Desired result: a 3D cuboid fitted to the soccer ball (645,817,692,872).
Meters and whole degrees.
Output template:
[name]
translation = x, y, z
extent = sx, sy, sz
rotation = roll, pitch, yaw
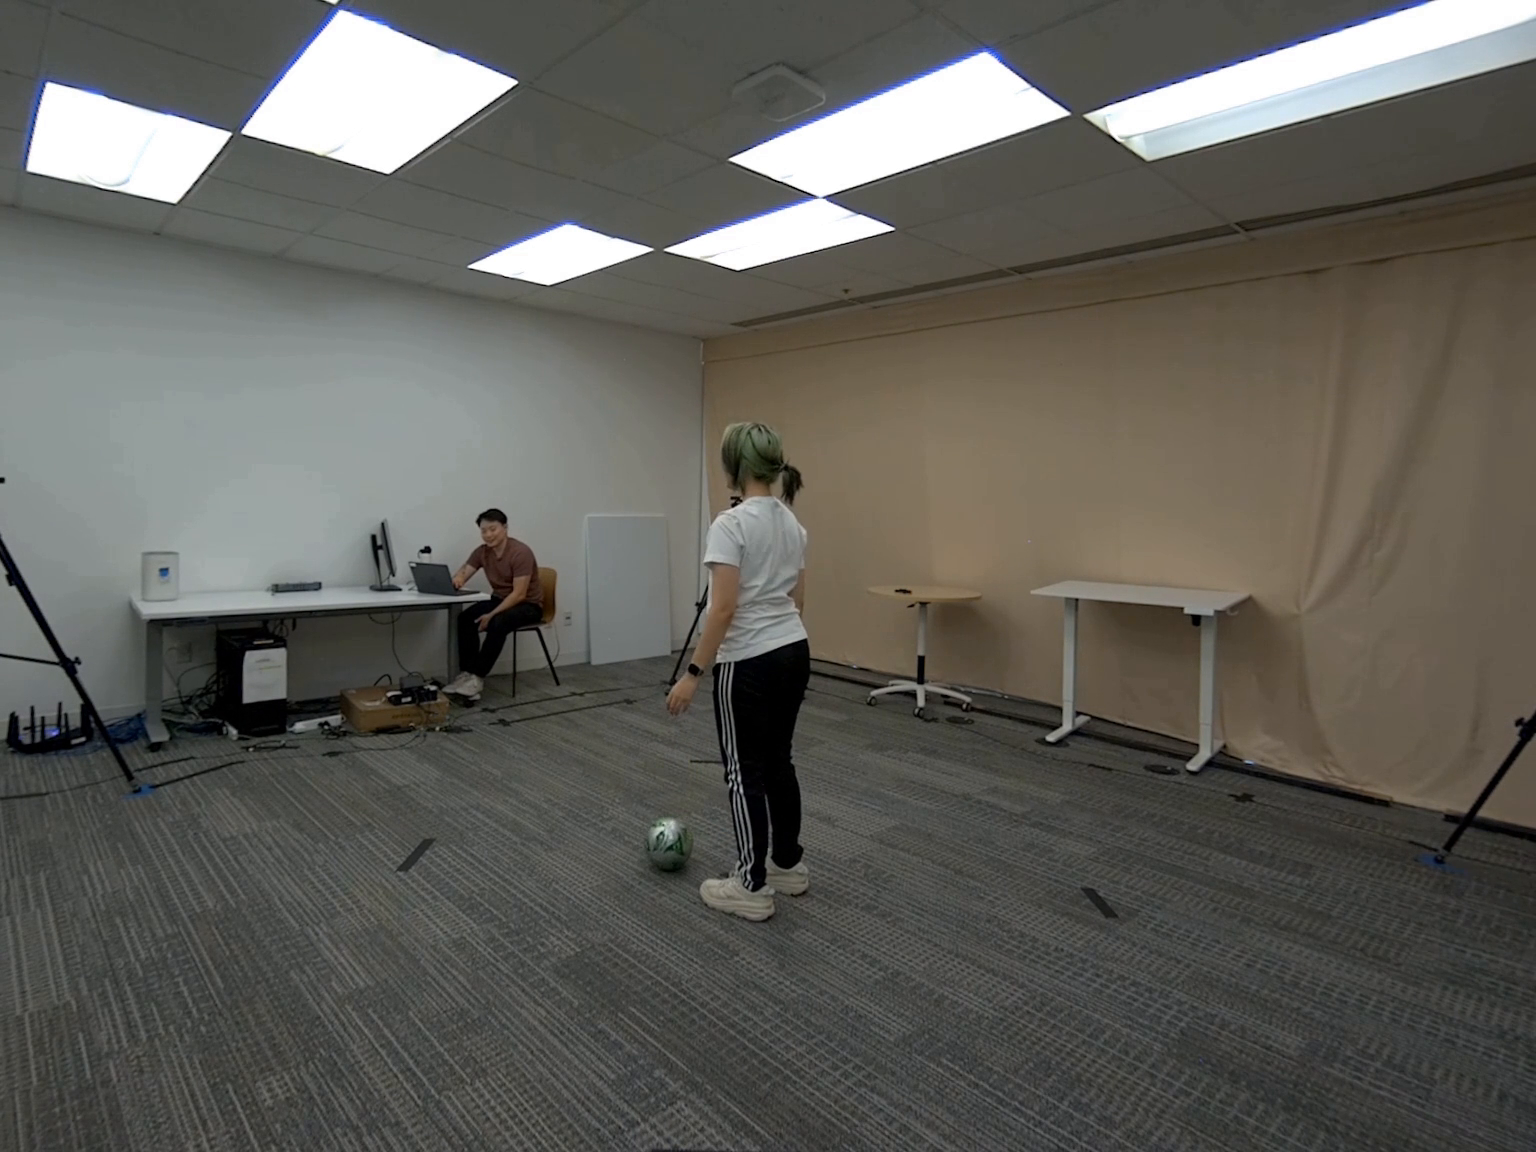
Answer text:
[soccer ball]
translation = -0.381, 1.002, 3.149
extent = 0.187, 0.187, 0.188
rotation = 1, 4, -1
